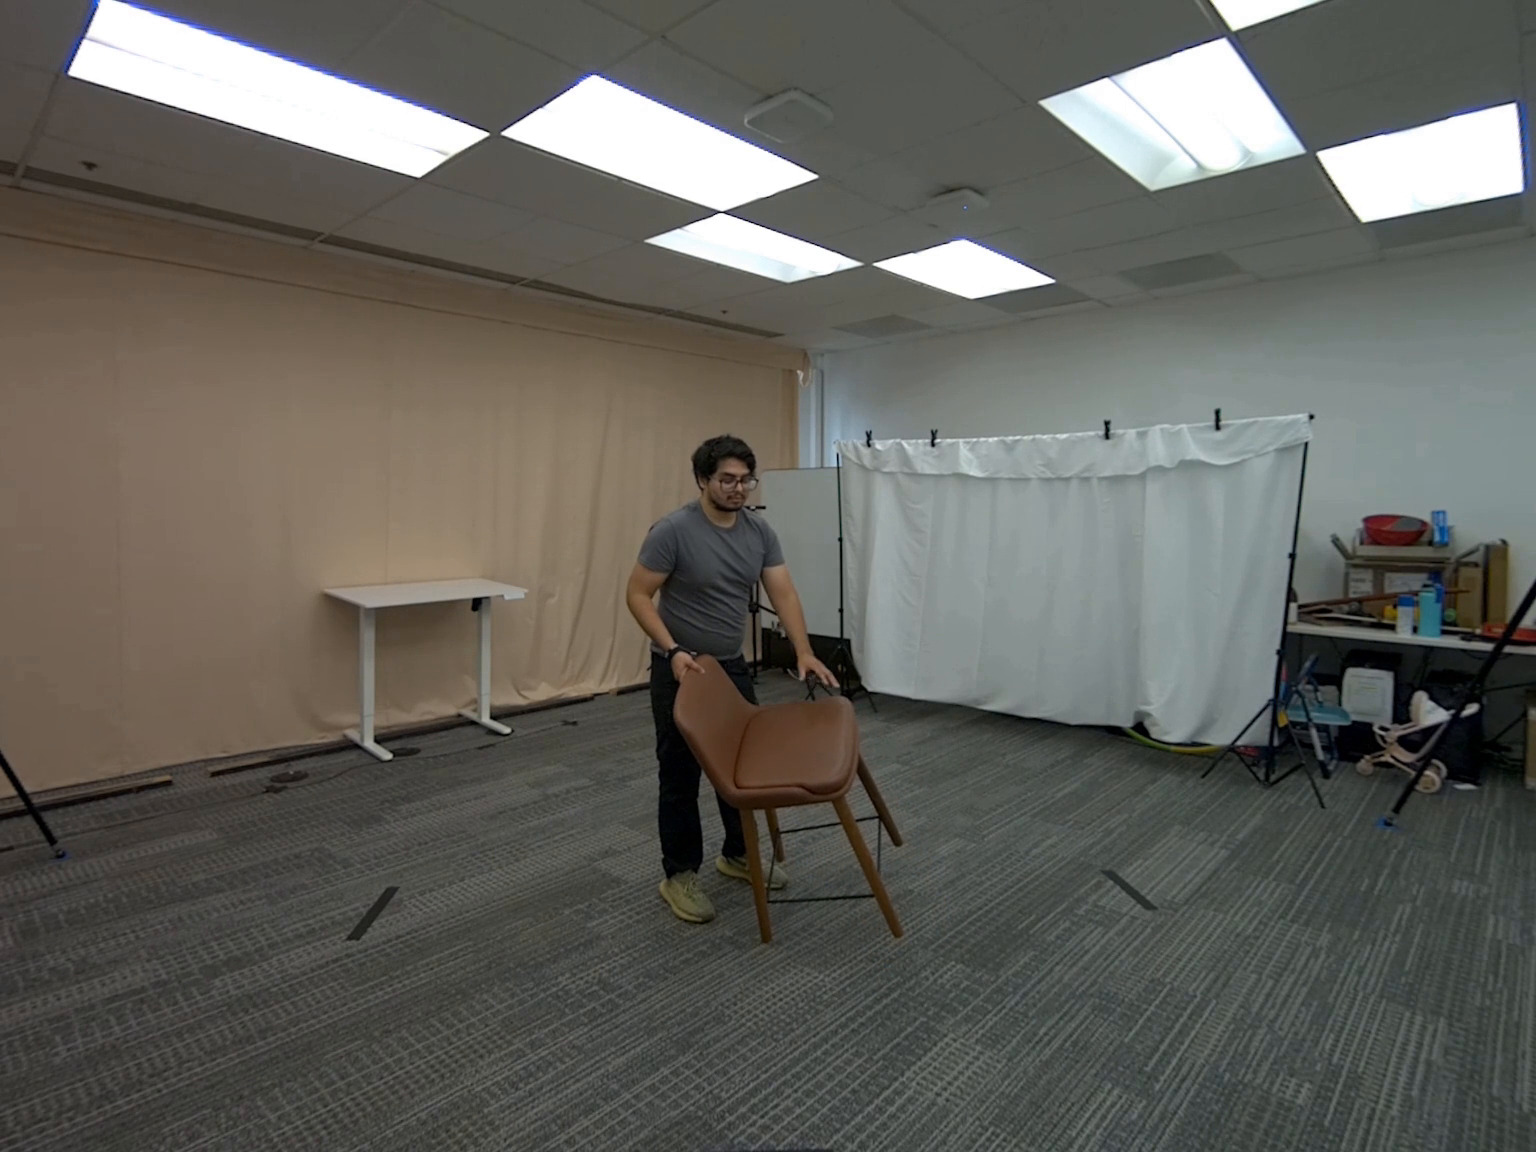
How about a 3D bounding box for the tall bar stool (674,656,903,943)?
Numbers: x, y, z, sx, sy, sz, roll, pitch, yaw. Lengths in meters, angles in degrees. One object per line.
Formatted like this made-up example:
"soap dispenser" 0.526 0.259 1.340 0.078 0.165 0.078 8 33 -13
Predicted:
"tall bar stool" 0.100 0.673 2.637 0.474 0.873 0.458 -14 21 16
